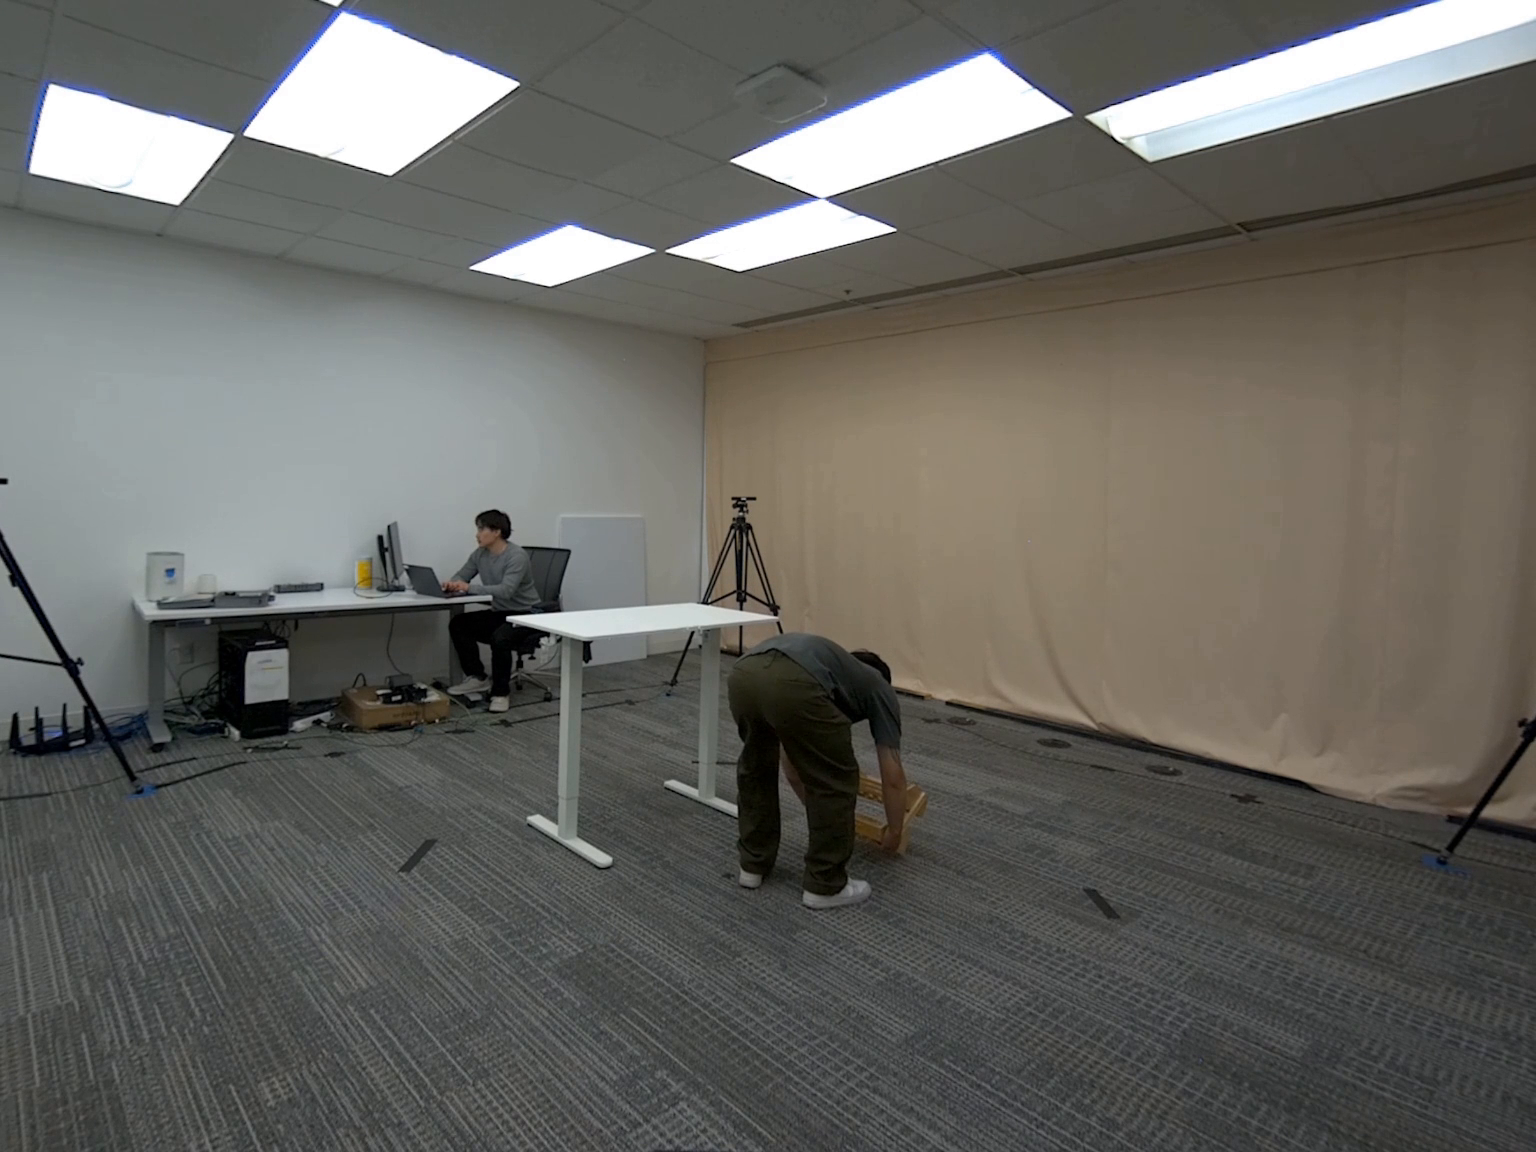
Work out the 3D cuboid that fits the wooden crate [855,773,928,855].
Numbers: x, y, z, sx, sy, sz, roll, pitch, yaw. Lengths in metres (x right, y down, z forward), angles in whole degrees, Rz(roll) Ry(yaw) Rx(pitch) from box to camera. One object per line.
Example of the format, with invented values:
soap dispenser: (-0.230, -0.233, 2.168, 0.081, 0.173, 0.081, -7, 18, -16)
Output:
wooden crate: (0.415, 0.915, 3.364, 0.333, 0.275, 0.292, 9, -23, 40)
